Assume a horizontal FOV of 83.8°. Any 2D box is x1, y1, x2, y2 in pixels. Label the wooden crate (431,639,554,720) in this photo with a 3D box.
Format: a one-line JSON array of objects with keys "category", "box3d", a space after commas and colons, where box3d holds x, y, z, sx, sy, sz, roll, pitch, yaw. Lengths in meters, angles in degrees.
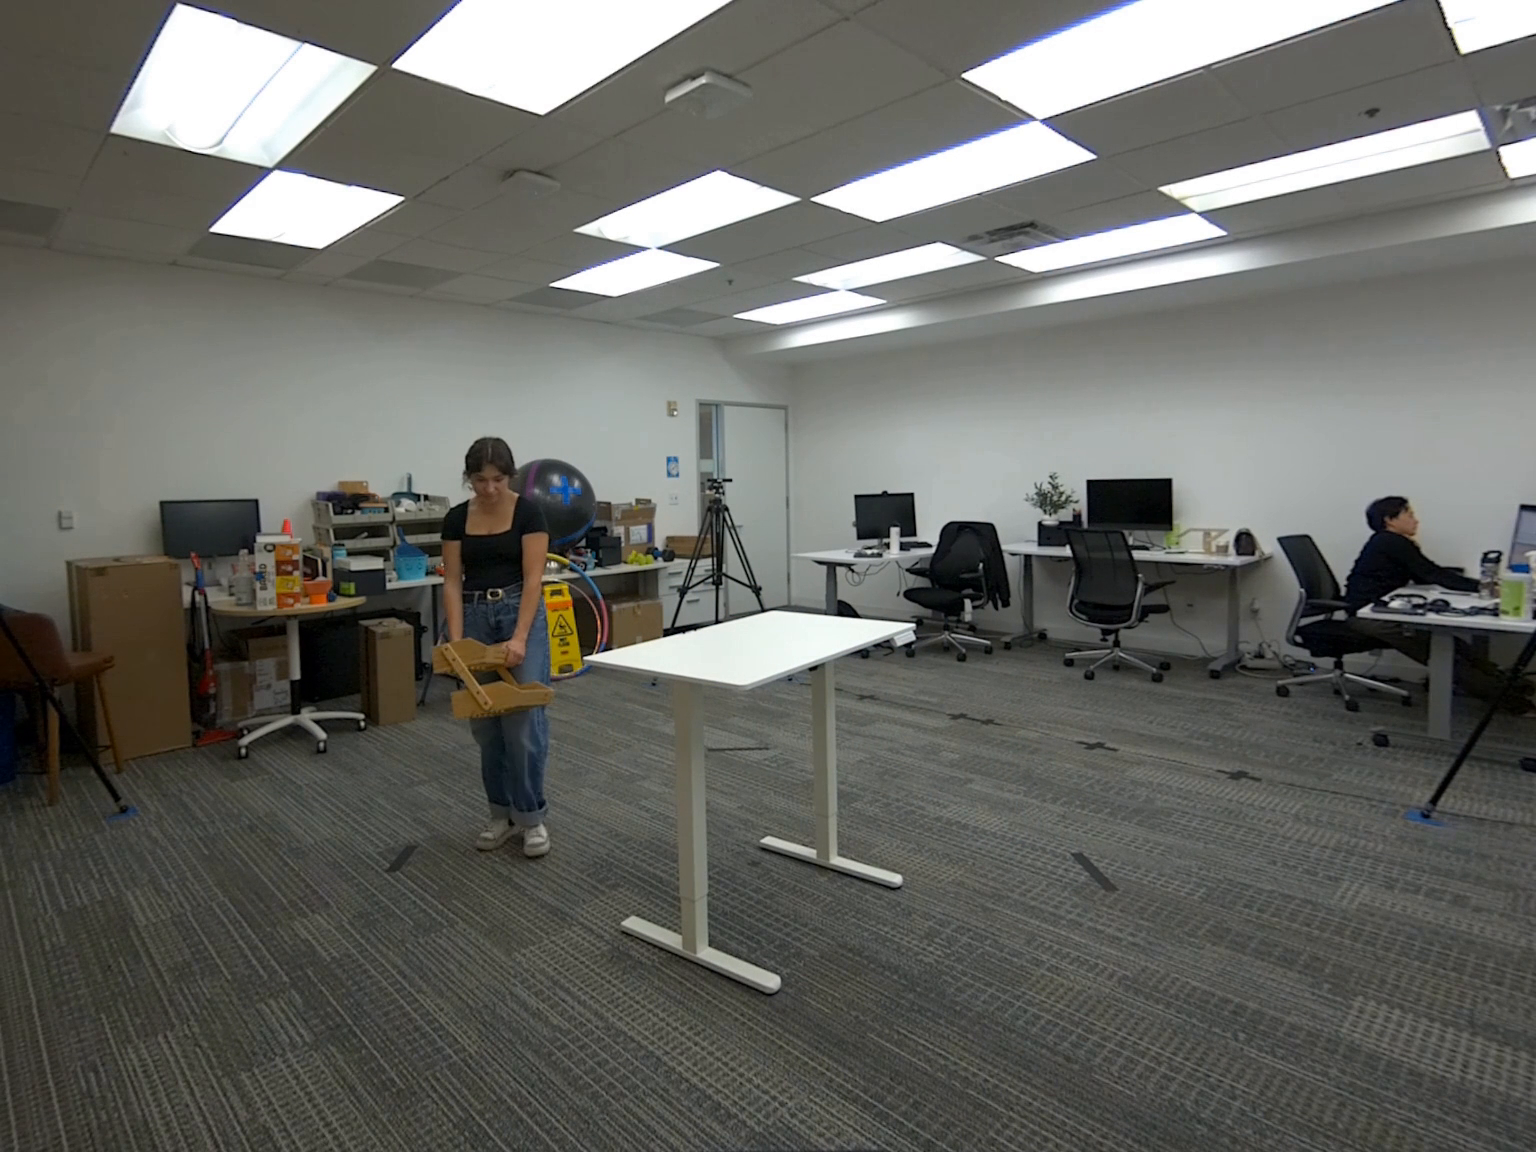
[{"category": "wooden crate", "box3d": [-0.966, 0.354, 3.037, 0.303, 0.277, 0.319, -14, -10, 6]}]
